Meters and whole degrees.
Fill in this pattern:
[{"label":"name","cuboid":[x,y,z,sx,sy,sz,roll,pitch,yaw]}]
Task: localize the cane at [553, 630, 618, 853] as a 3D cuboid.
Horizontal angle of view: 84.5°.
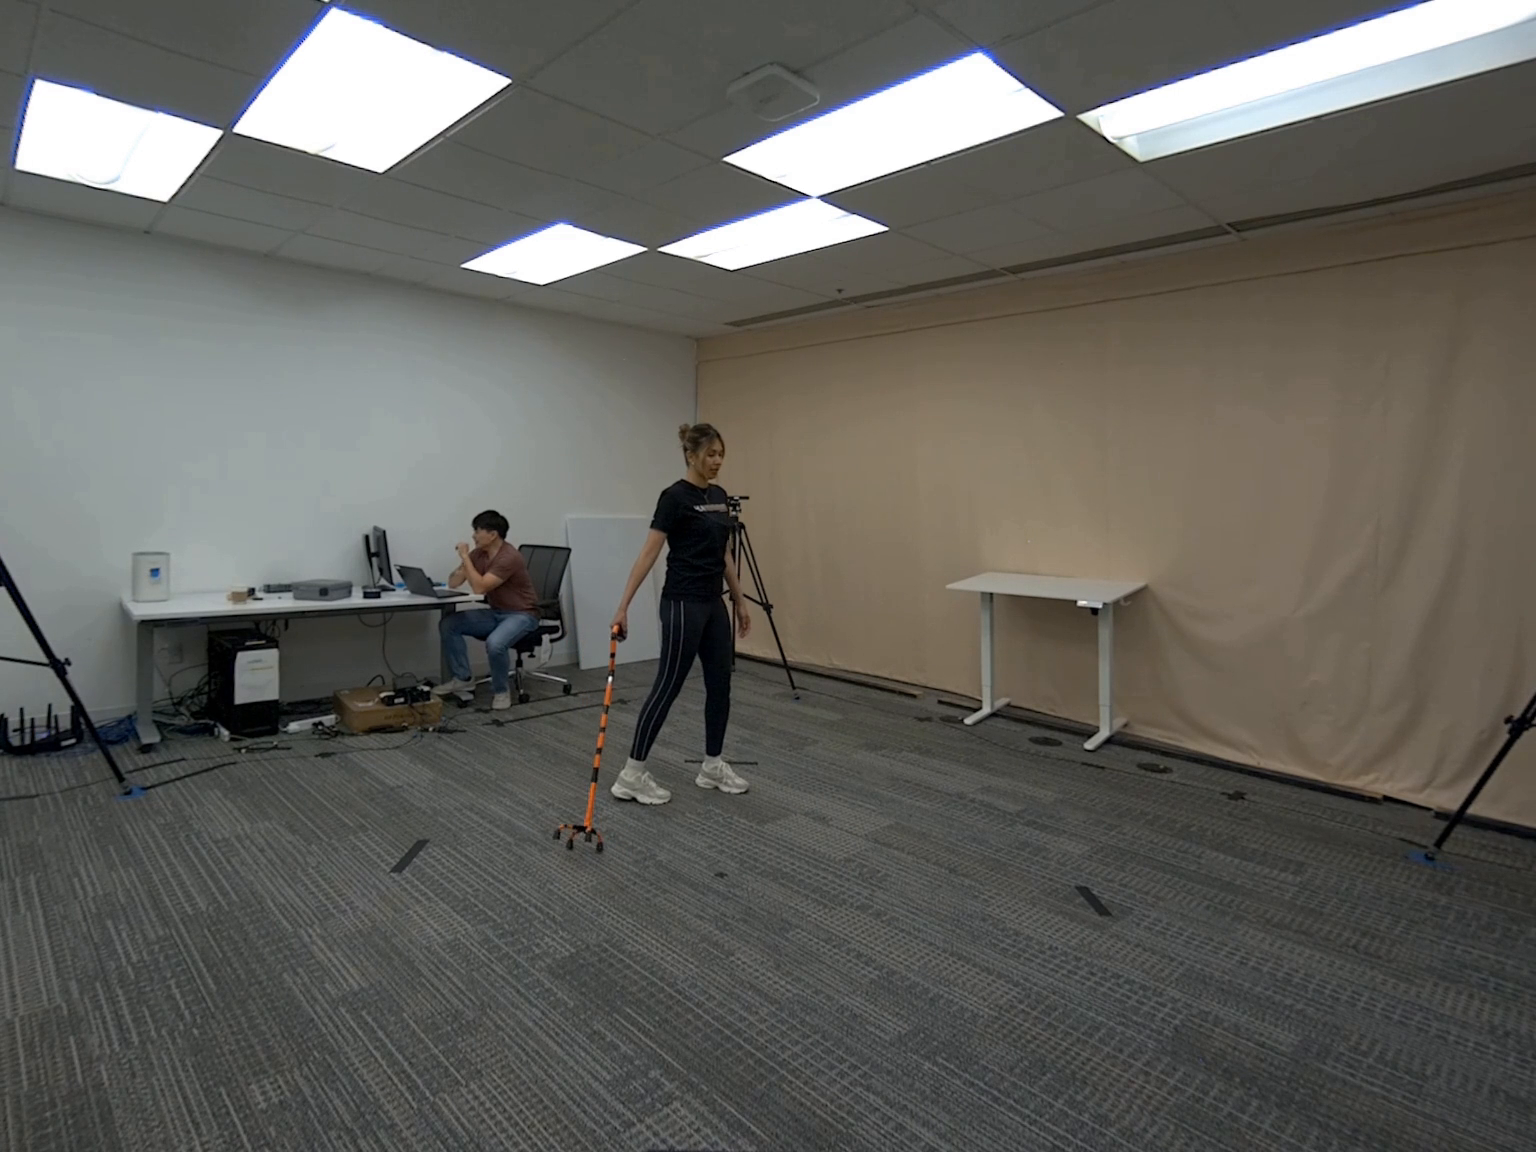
[{"label":"cane","cuboid":[-0.696,0.622,3.427,0.152,0.923,0.202,0,-28,7]}]
